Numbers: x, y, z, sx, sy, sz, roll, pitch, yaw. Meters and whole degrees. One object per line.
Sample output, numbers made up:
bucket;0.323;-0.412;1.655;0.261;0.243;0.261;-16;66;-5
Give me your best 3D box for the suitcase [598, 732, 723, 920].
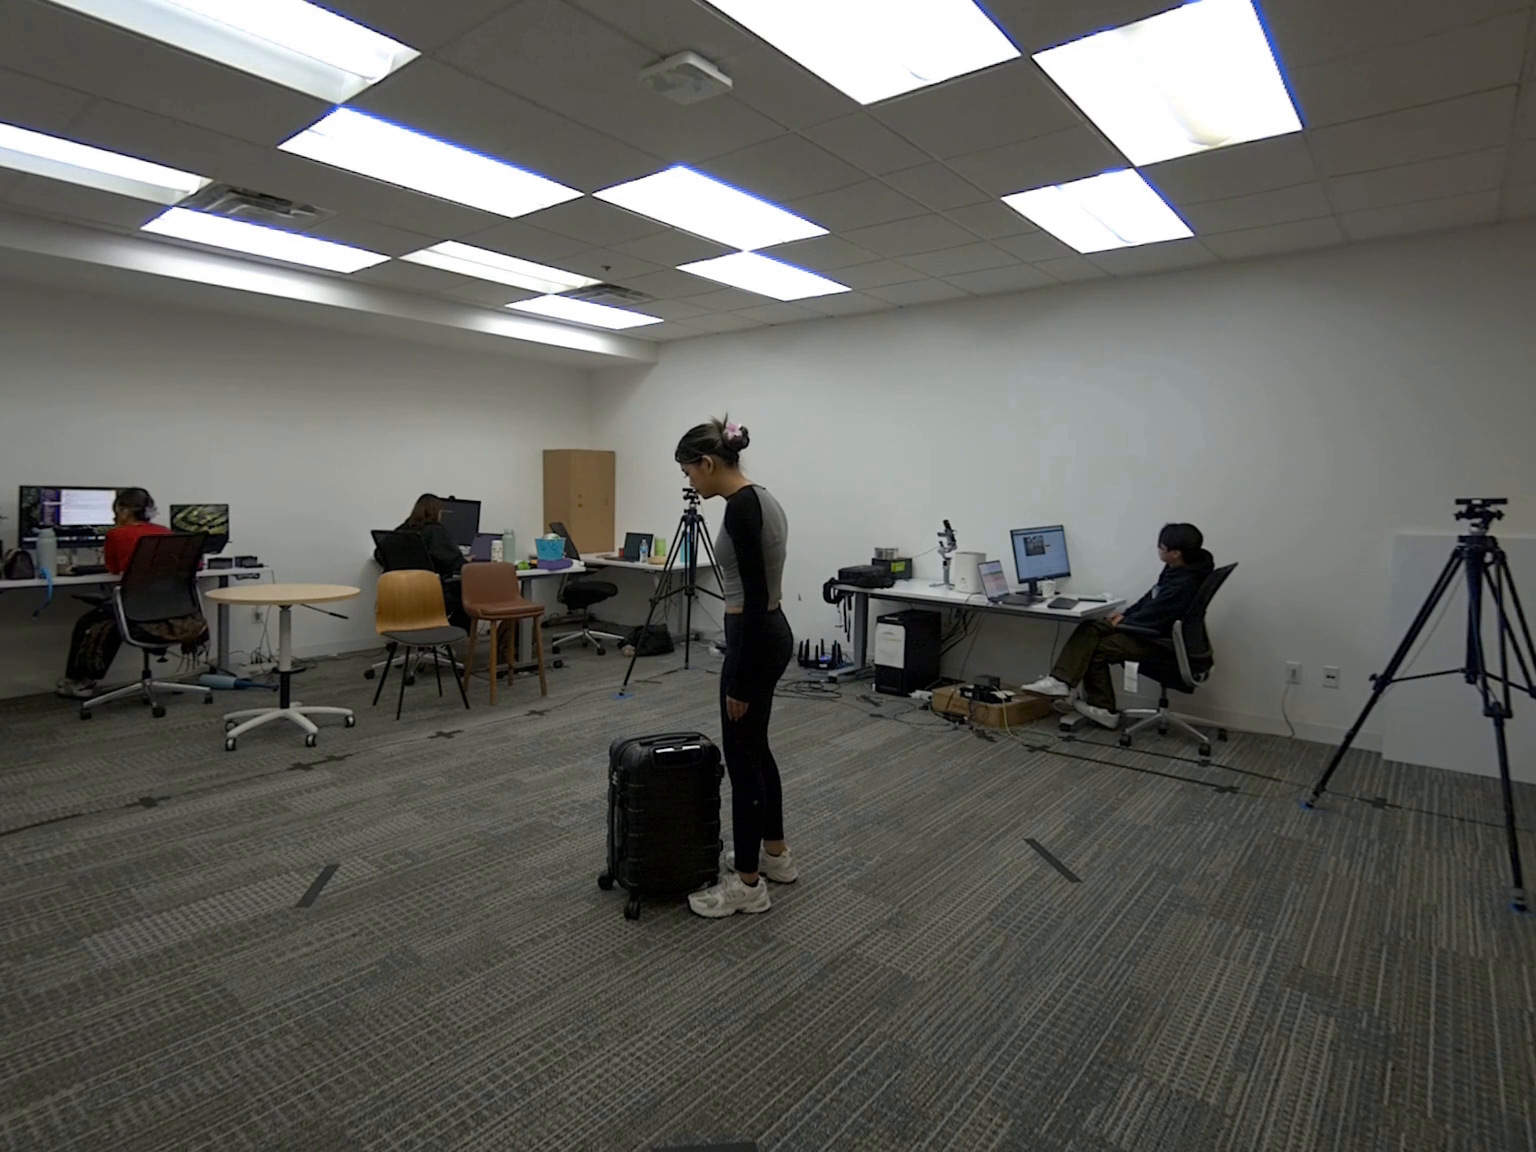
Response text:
suitcase;-0.371;0.806;2.915;0.366;0.548;0.255;-2;3;-26
